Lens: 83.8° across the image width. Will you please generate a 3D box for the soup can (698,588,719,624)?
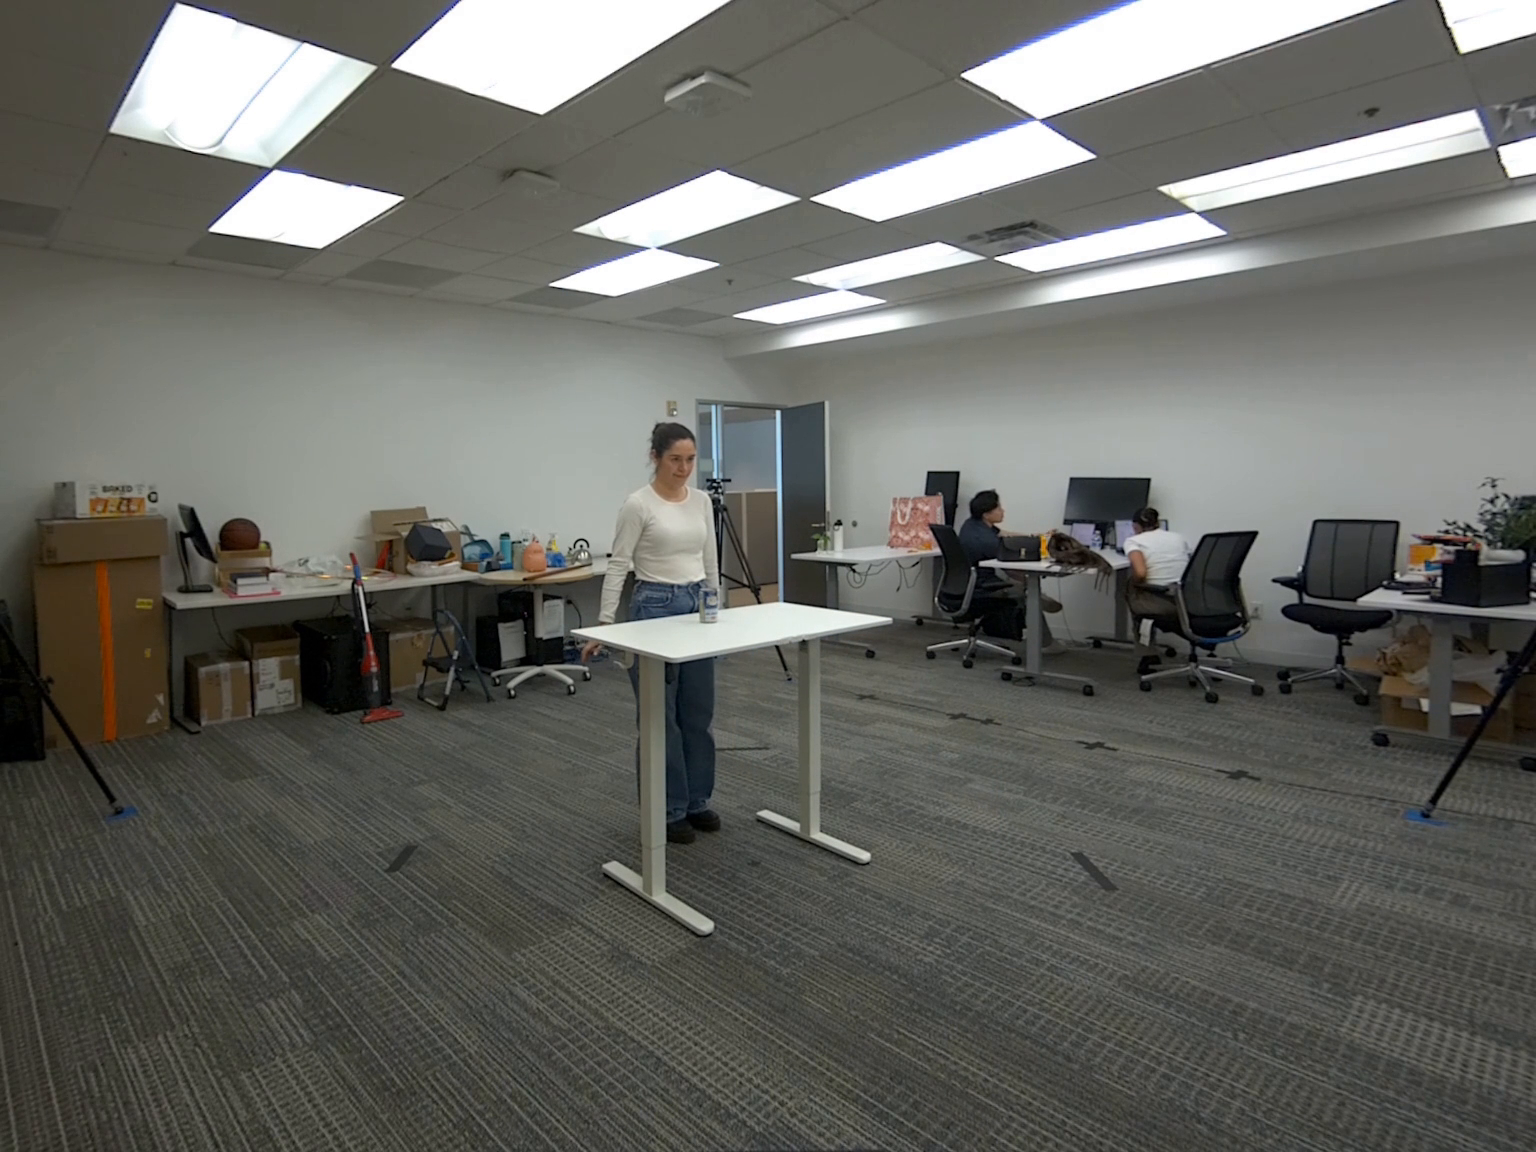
[{"bbox_3d":[-0.227,0.105,3.084,0.067,0.121,0.067,-1,3,-2],"label":"soup can"}]
